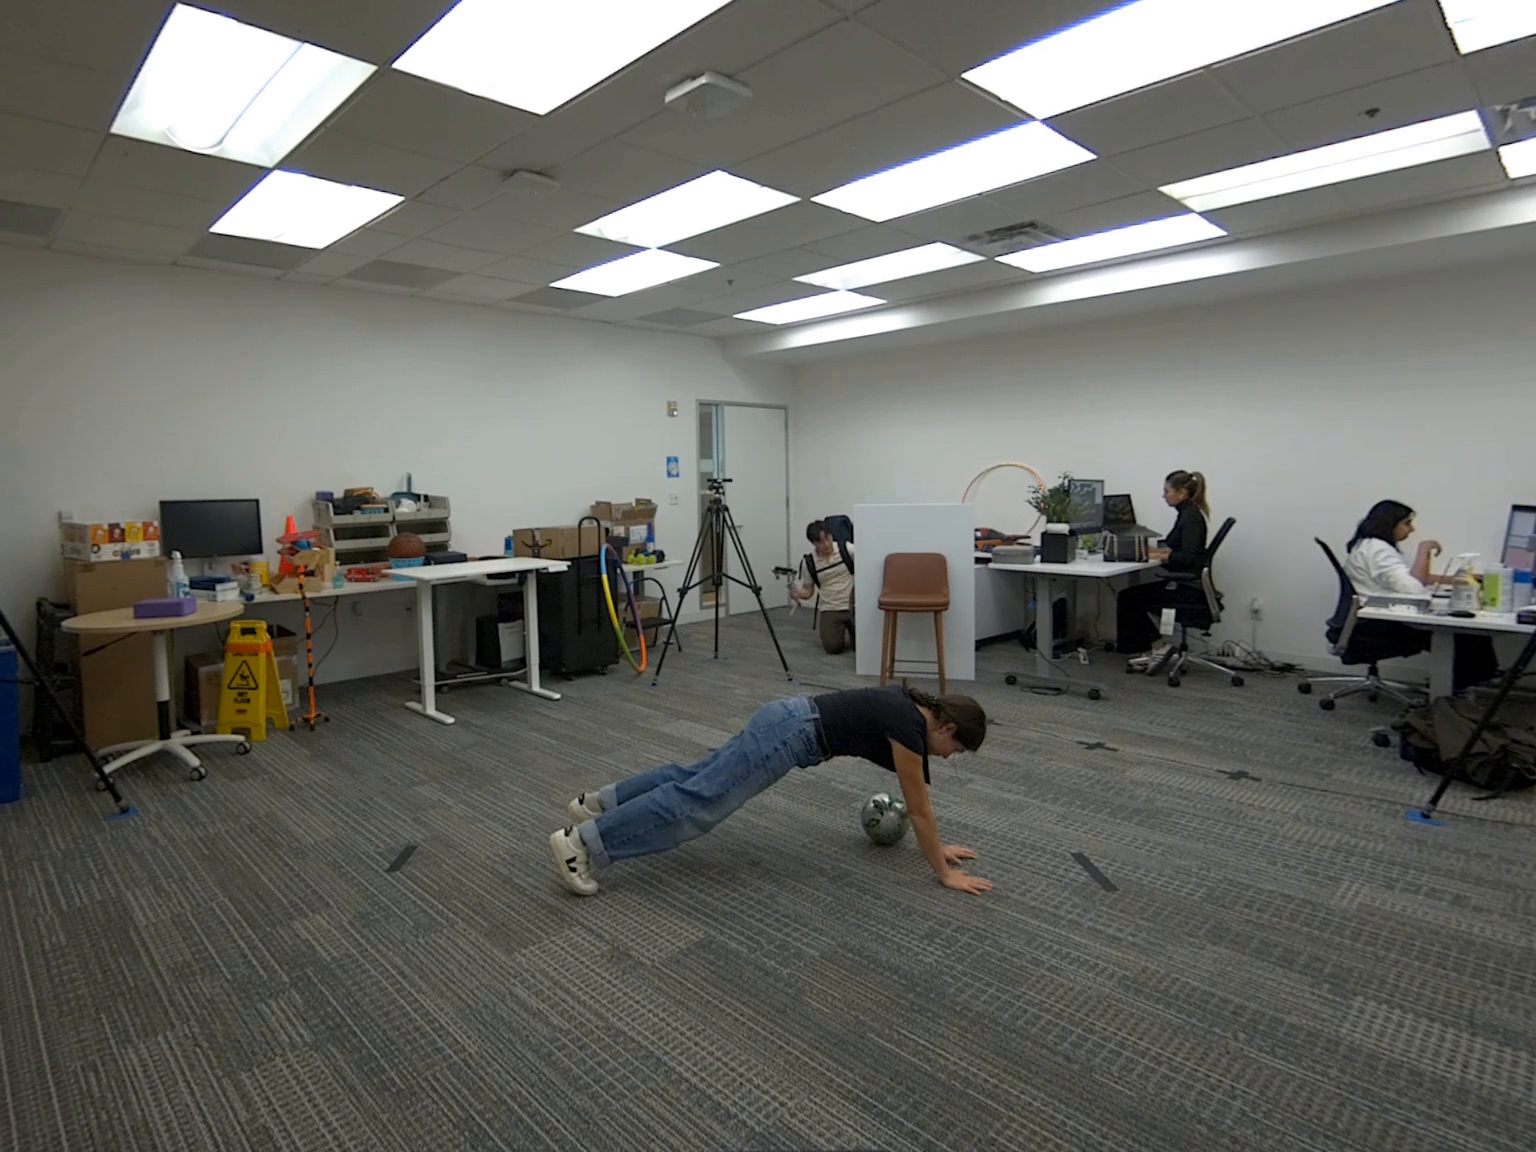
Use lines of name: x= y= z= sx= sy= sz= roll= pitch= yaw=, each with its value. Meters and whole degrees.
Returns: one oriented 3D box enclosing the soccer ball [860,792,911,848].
soccer ball: x=0.448 y=0.919 z=3.269 sx=0.187 sy=0.187 sz=0.188 roll=-1 pitch=5 yaw=-2
